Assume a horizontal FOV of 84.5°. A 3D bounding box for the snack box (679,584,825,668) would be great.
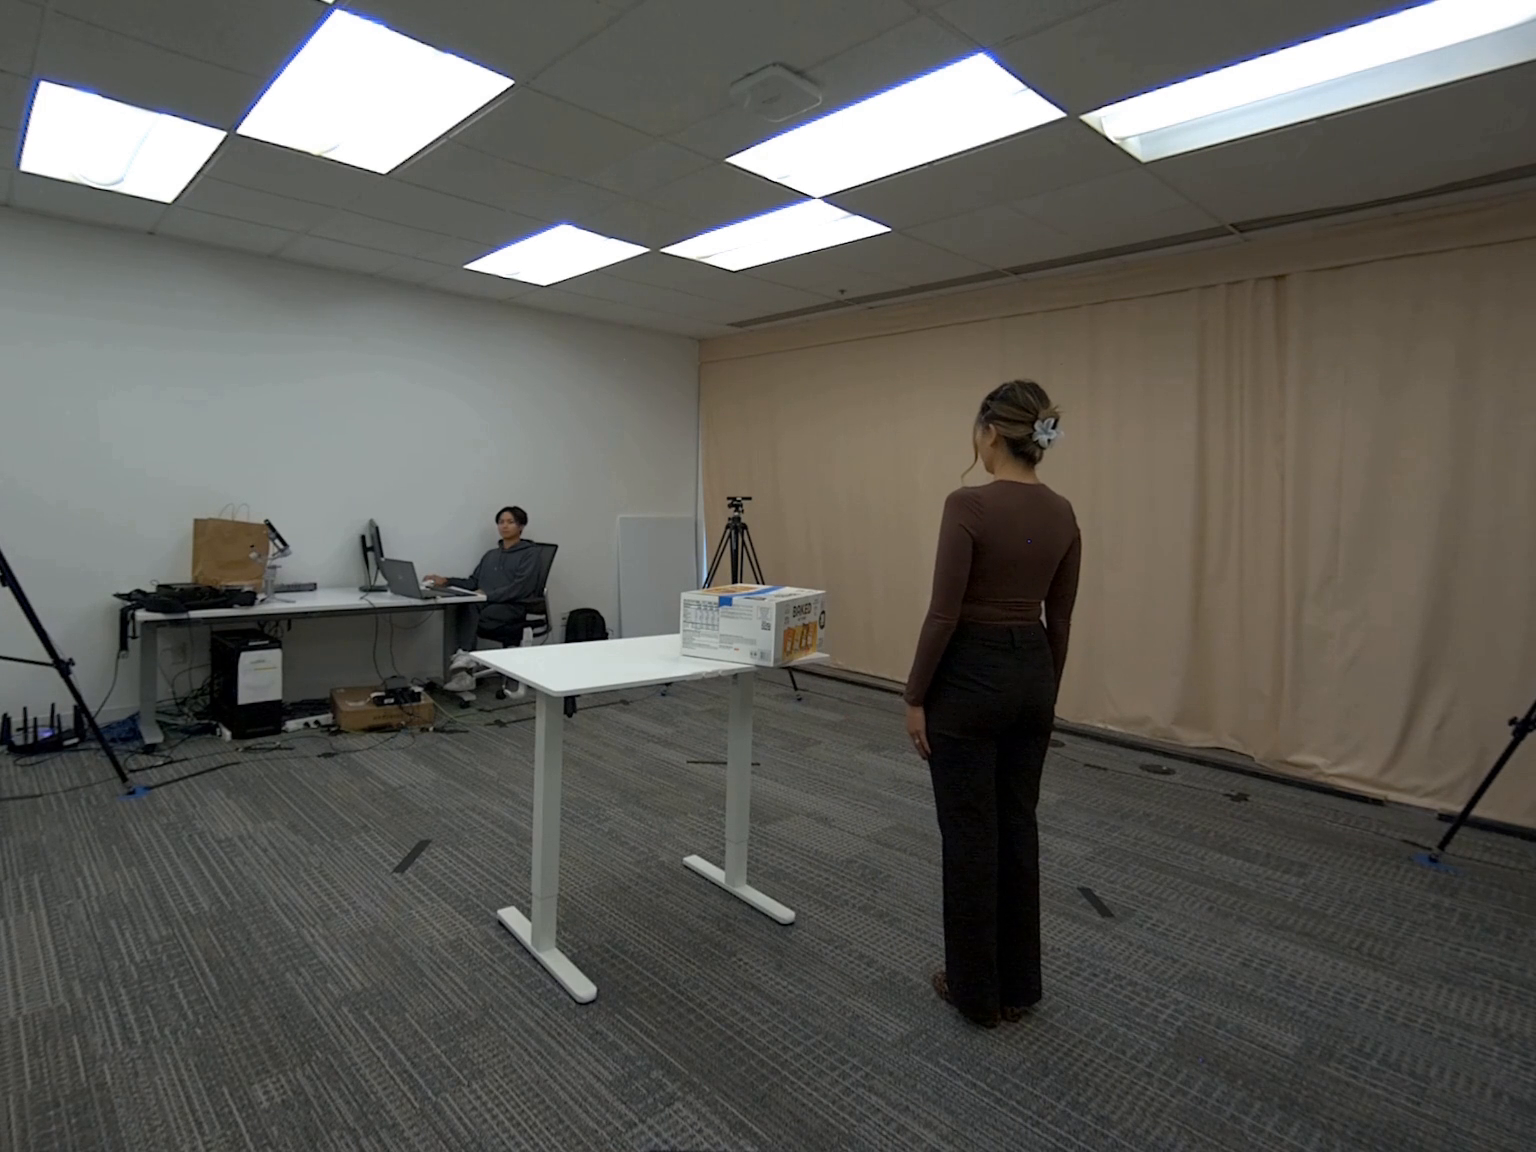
[{"bbox_3d":[-0.046,0.155,2.793,0.347,0.205,0.398,4,5,27],"label":"snack box"}]
